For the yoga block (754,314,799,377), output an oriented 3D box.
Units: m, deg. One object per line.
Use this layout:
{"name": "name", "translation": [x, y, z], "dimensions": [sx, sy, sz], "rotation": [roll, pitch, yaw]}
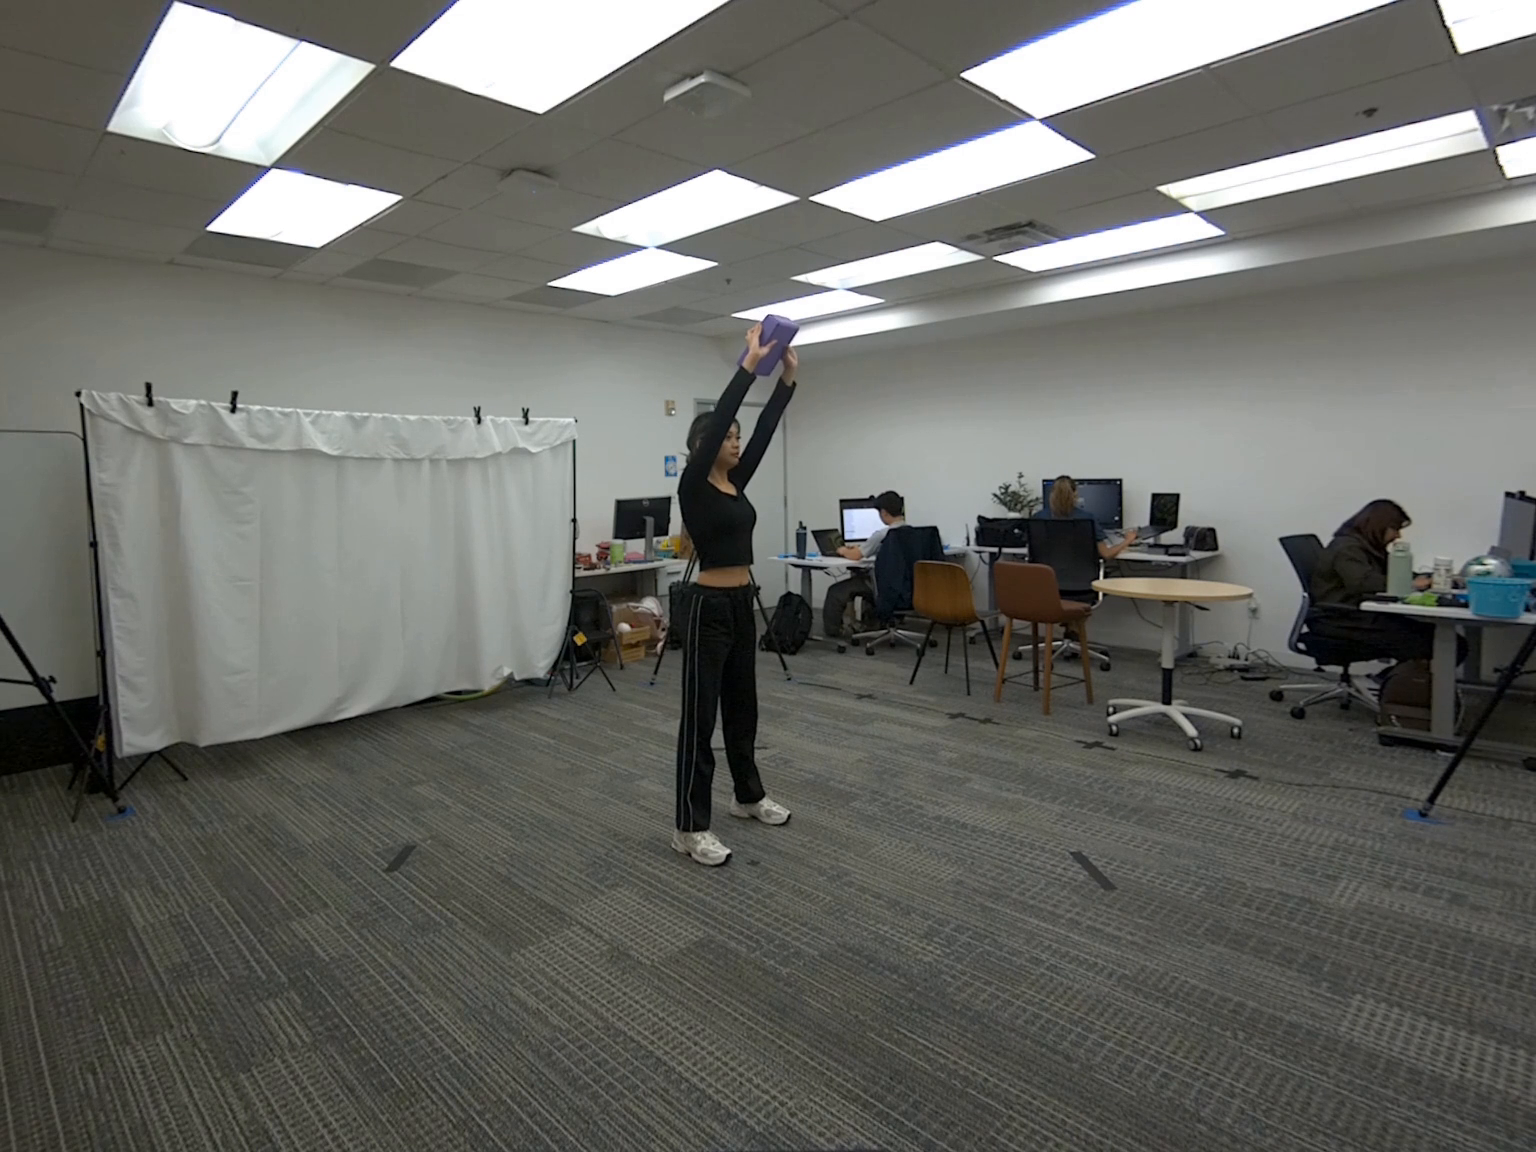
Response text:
{"name": "yoga block", "translation": [0.009, -0.859, 3.185], "dimensions": [0.078, 0.228, 0.146], "rotation": [47, 29, 19]}
